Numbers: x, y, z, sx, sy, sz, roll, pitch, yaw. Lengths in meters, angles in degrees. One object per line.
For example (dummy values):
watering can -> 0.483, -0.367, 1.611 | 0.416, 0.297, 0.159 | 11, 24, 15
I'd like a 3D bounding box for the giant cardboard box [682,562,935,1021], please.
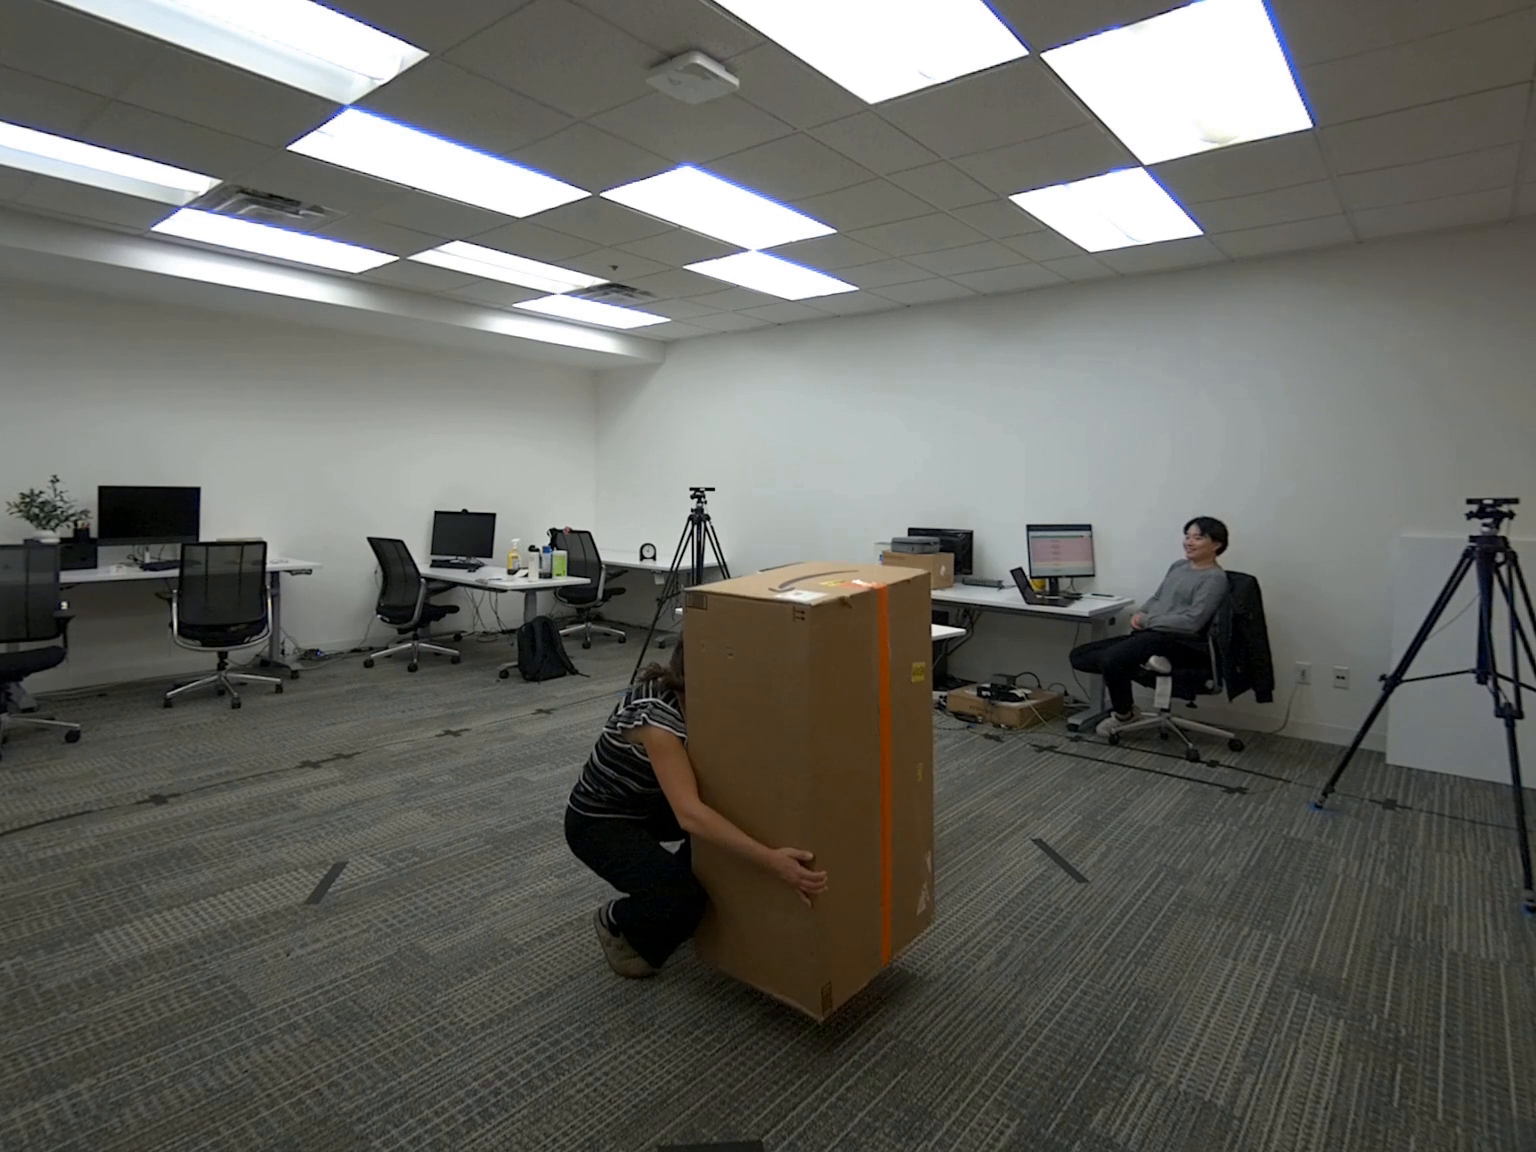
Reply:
giant cardboard box -> 0.123, 0.506, 2.336 | 0.440, 1.020, 0.562 | 2, 7, 40
